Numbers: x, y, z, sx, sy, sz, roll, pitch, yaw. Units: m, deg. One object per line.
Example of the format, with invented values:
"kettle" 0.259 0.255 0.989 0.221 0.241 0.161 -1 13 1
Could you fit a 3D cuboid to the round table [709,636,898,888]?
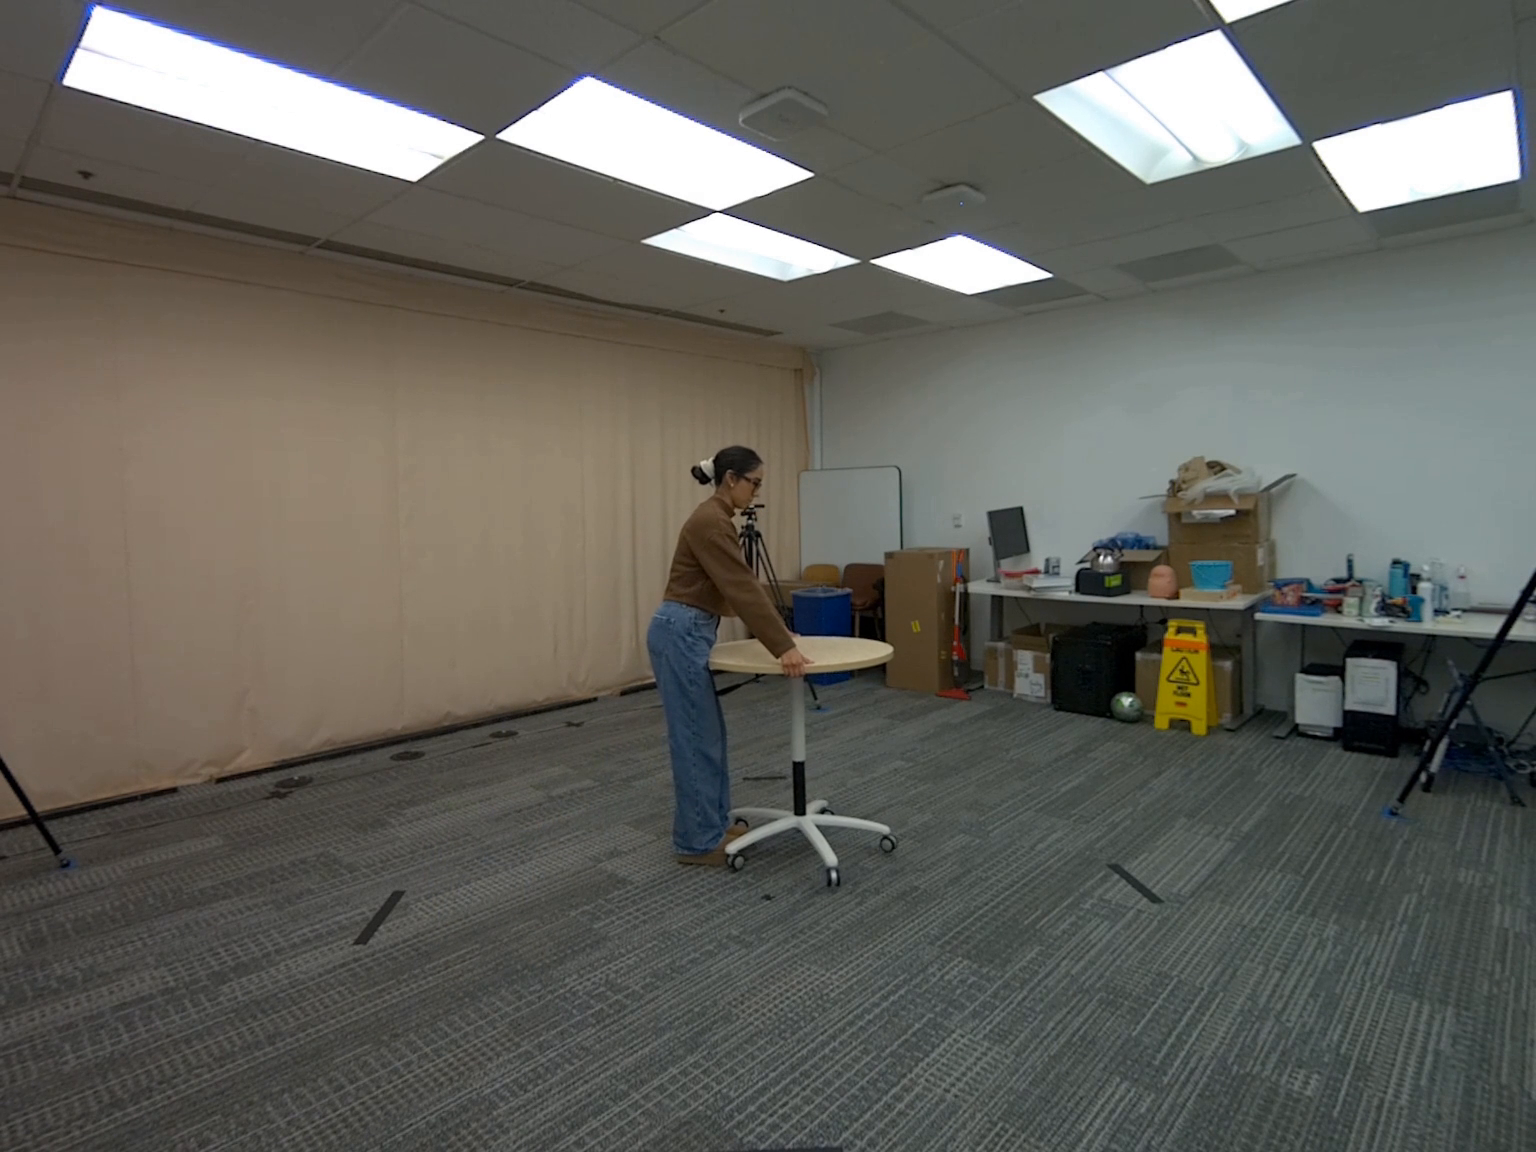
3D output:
"round table" 0.144 0.688 3.351 0.784 0.785 0.787 -2 3 -2
